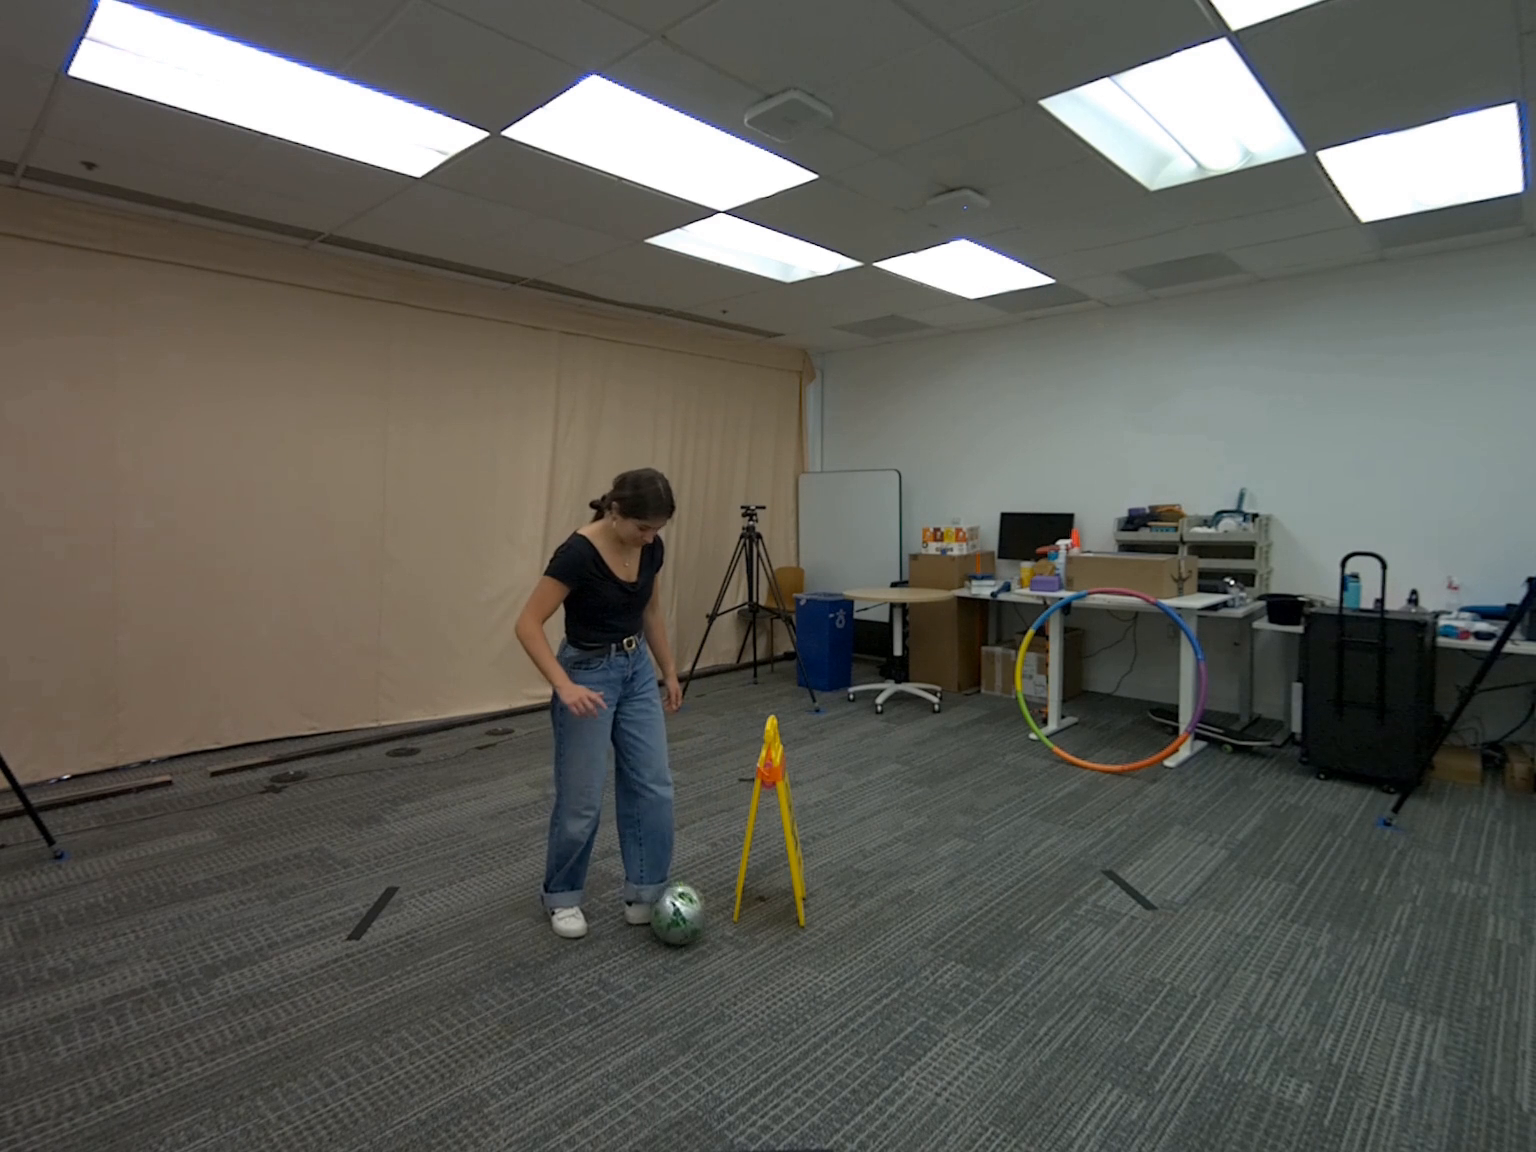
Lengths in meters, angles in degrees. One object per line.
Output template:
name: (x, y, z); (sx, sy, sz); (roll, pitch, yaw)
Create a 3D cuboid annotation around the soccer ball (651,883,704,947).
soccer ball: (-0.281, 1.080, 2.685); (0.187, 0.187, 0.188); (0, 4, -2)
